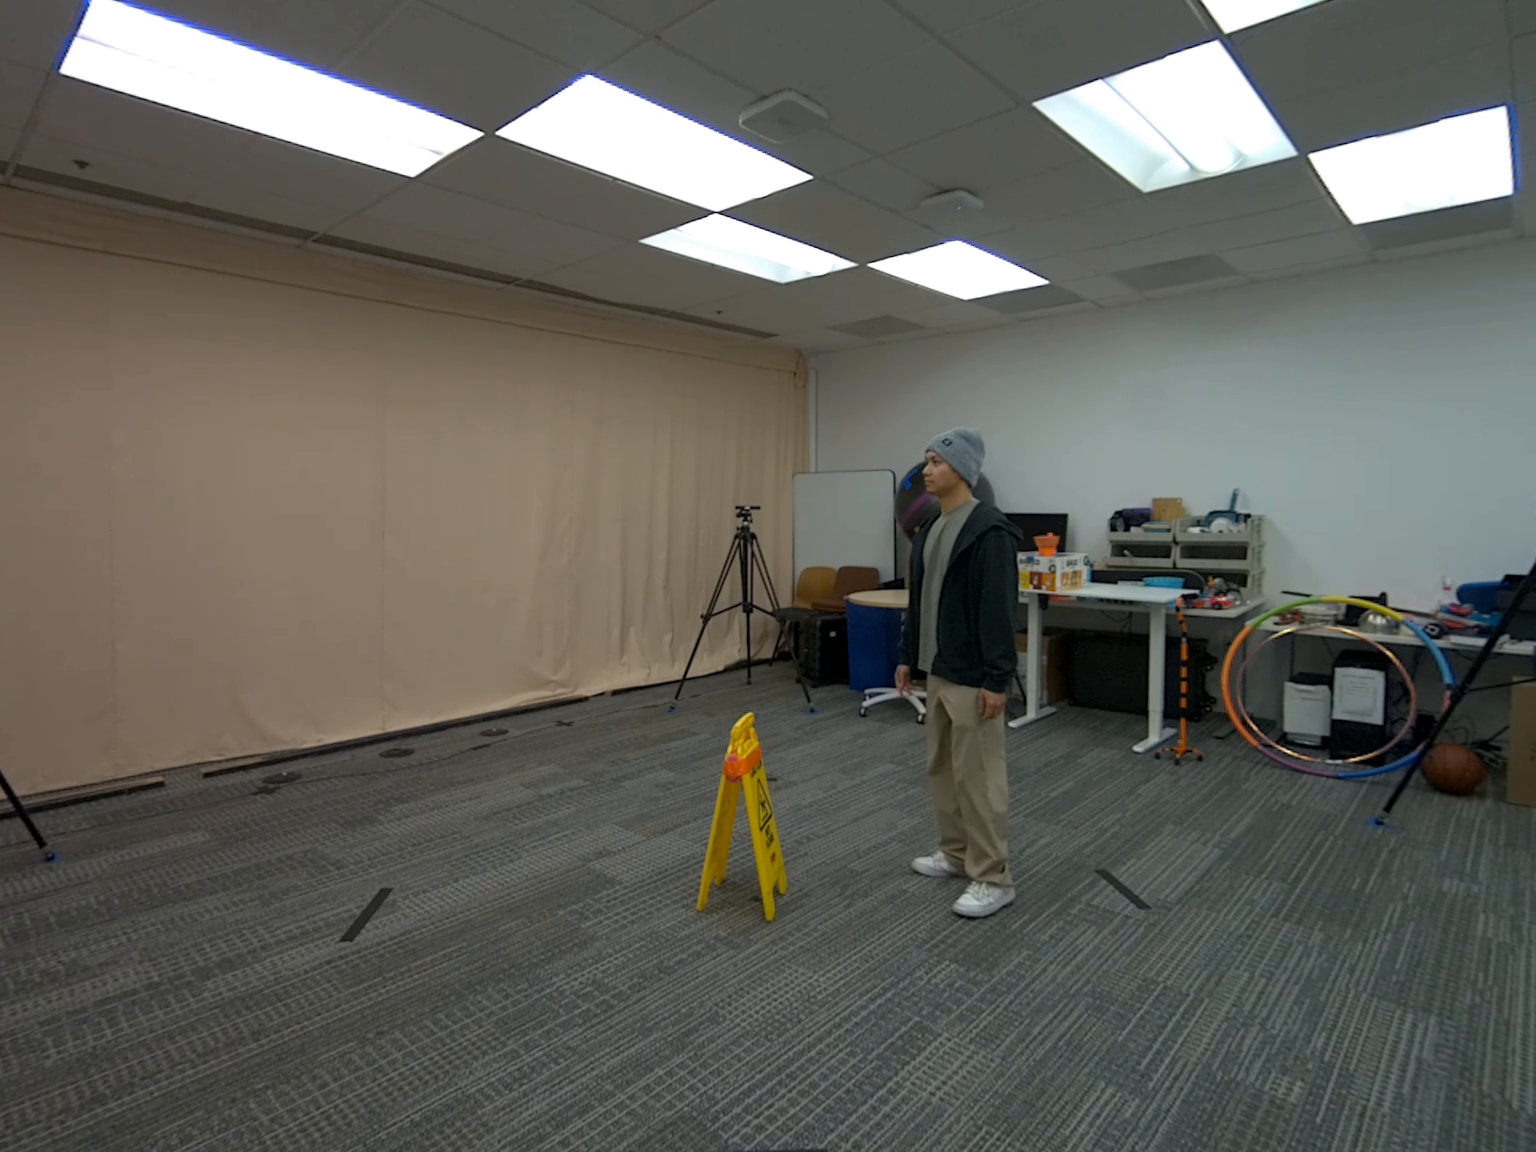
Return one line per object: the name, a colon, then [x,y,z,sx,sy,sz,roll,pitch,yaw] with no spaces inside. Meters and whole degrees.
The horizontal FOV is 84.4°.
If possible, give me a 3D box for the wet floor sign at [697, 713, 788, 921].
wet floor sign: [-0.086,0.825,2.968,0.295,0.645,0.277,0,1,16]
